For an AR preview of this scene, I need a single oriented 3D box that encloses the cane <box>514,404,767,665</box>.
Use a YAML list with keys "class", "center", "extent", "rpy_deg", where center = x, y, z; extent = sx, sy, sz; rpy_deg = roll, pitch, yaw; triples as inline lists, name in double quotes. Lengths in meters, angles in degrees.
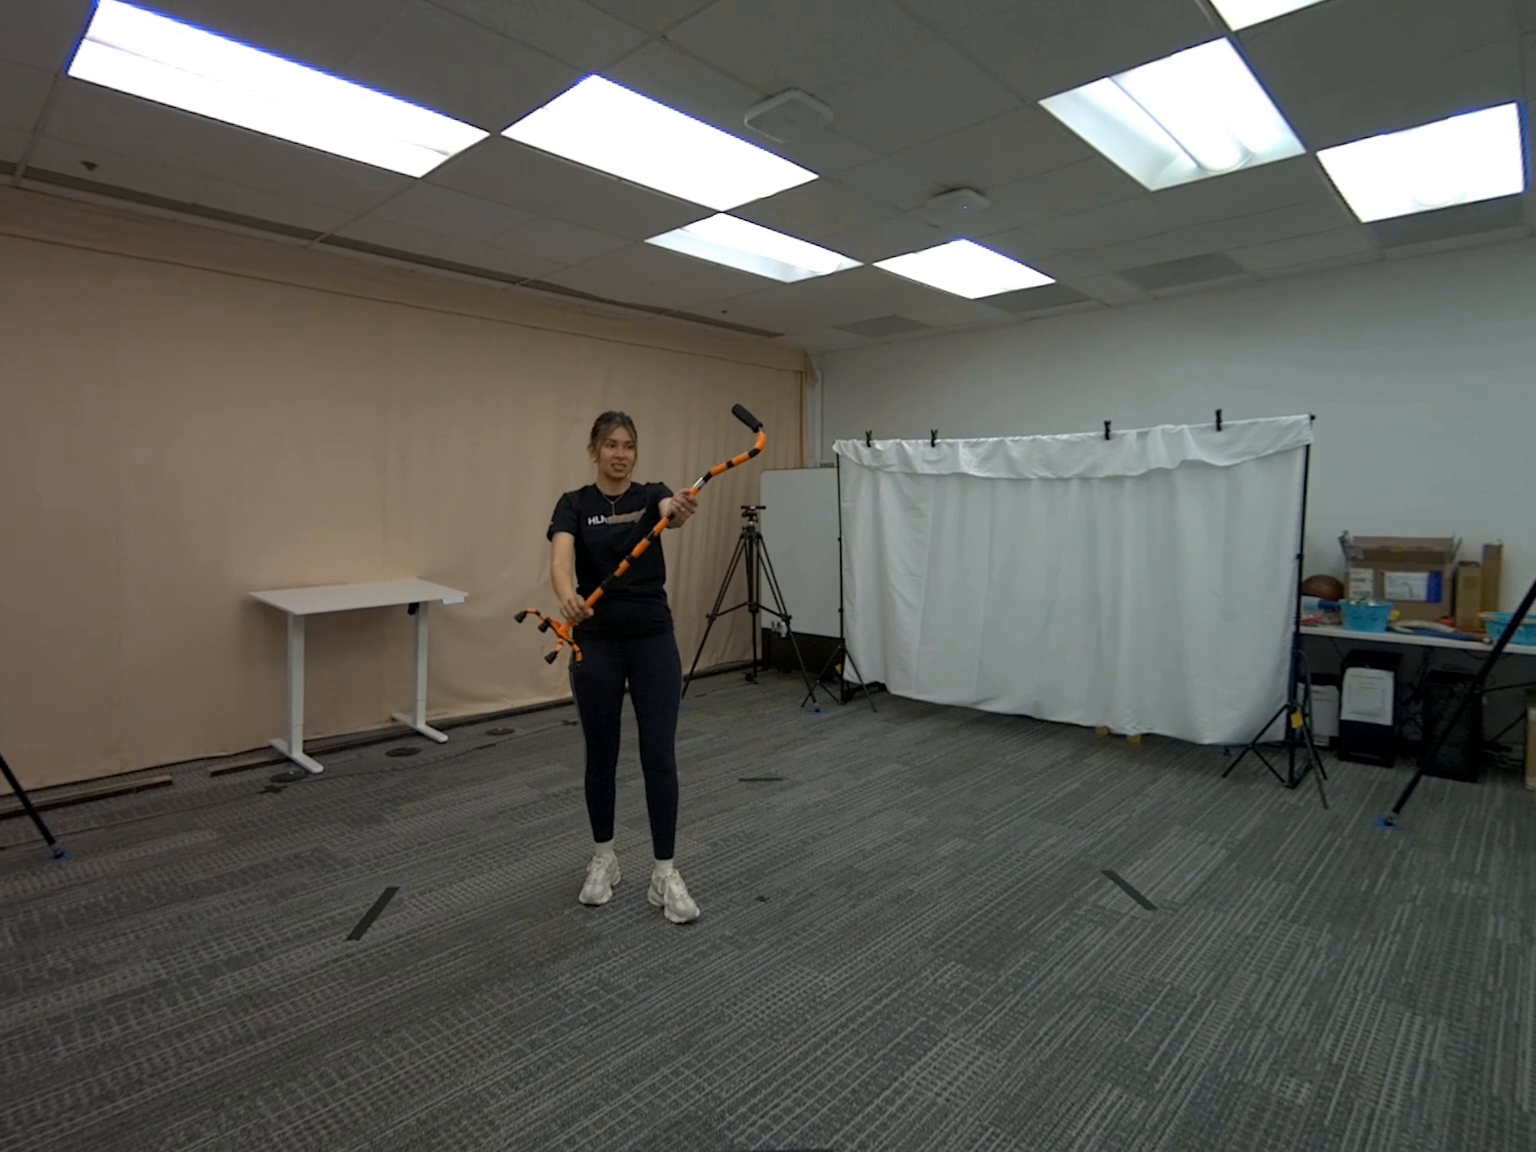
- class: "cane"
  center: [-0.326, -0.128, 2.463]
  extent: [0.212, 0.909, 0.147]
  rpy_deg: [46, 5, 25]
